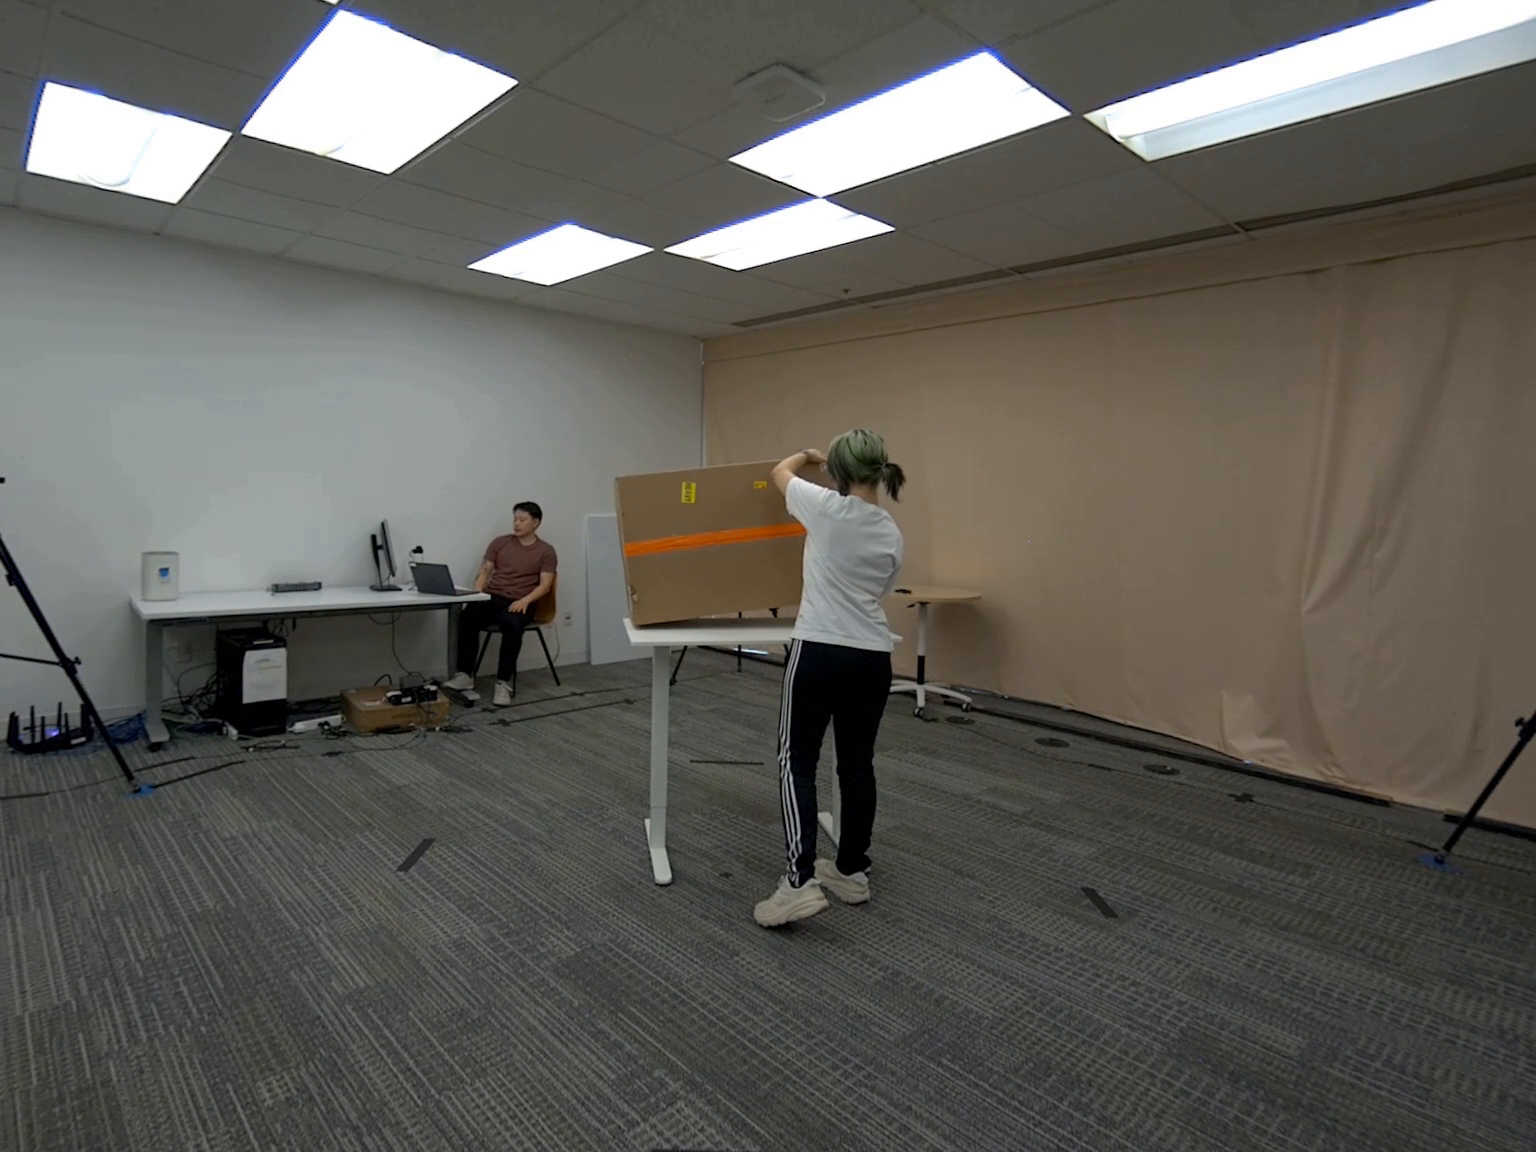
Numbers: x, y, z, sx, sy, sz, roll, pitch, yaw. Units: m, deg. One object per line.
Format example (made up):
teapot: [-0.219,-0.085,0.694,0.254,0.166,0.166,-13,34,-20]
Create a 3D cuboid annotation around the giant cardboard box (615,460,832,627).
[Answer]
giant cardboard box: [-0.103,-0.157,3.472,1.021,0.584,0.450,-6,1,-9]
